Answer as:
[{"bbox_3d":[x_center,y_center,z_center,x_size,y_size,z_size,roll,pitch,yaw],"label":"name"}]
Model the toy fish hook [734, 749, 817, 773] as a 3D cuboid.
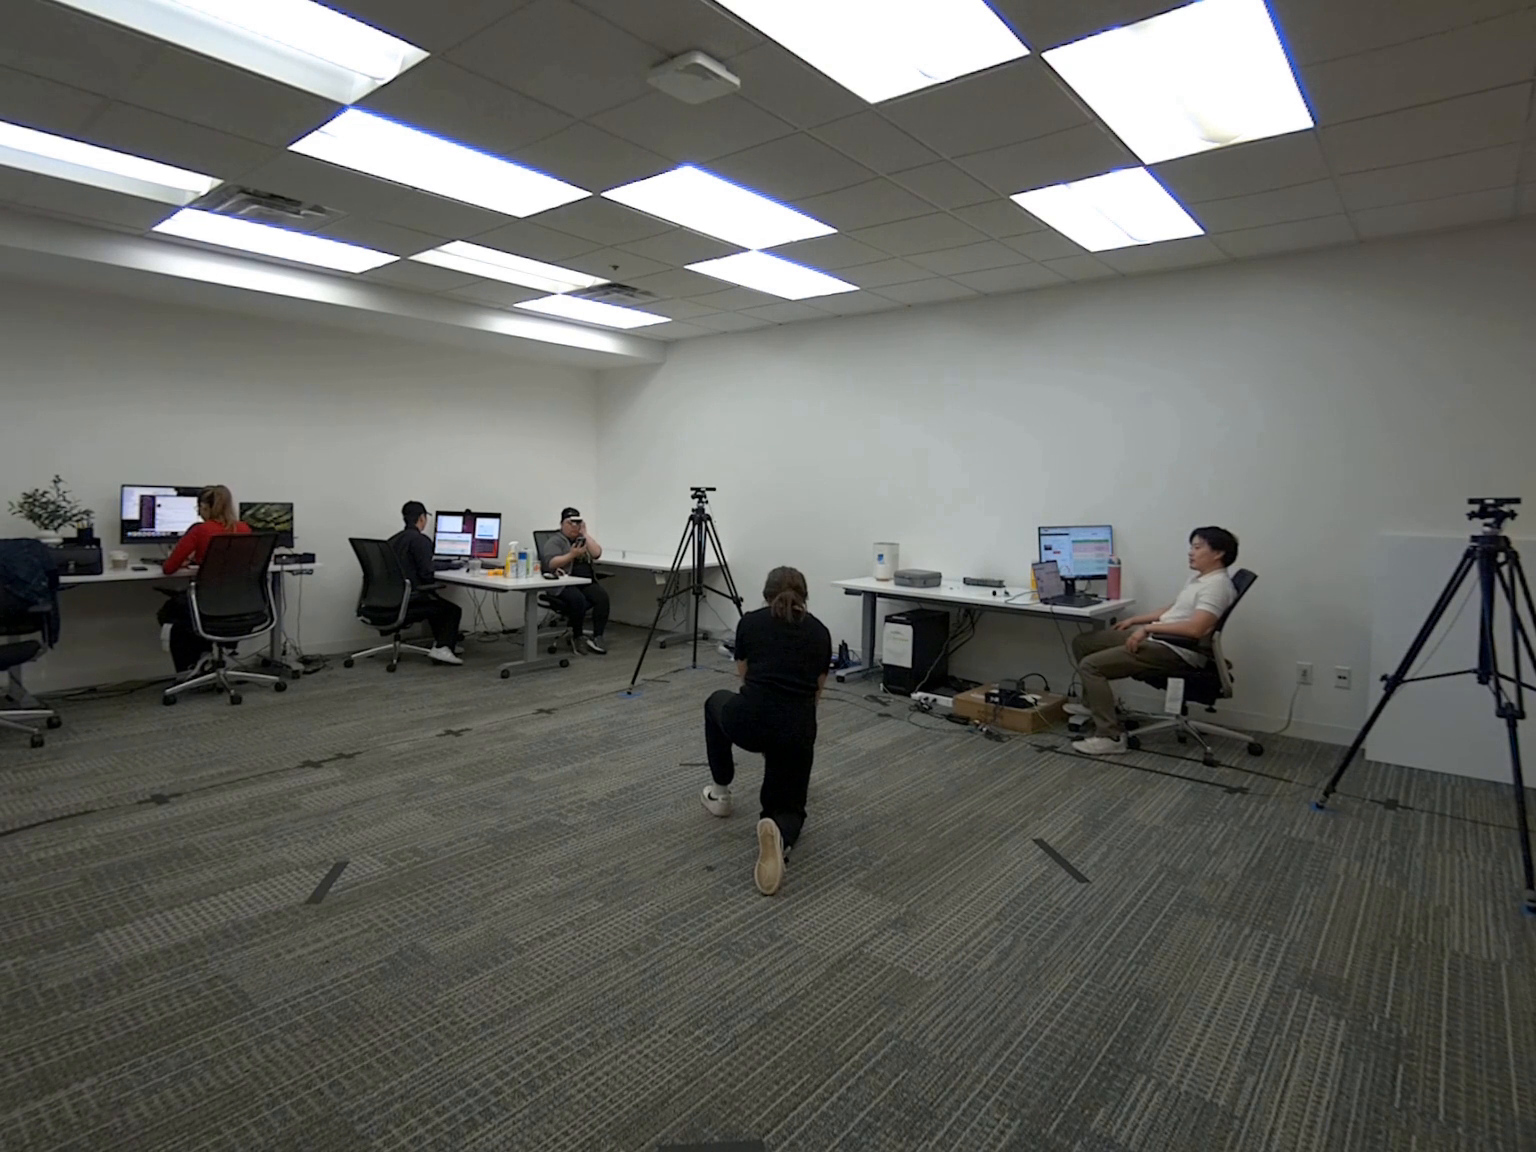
[{"bbox_3d":[0.035,0.821,3.814,0.227,0.049,0.488,-18,-25,15],"label":"toy fish hook"}]
